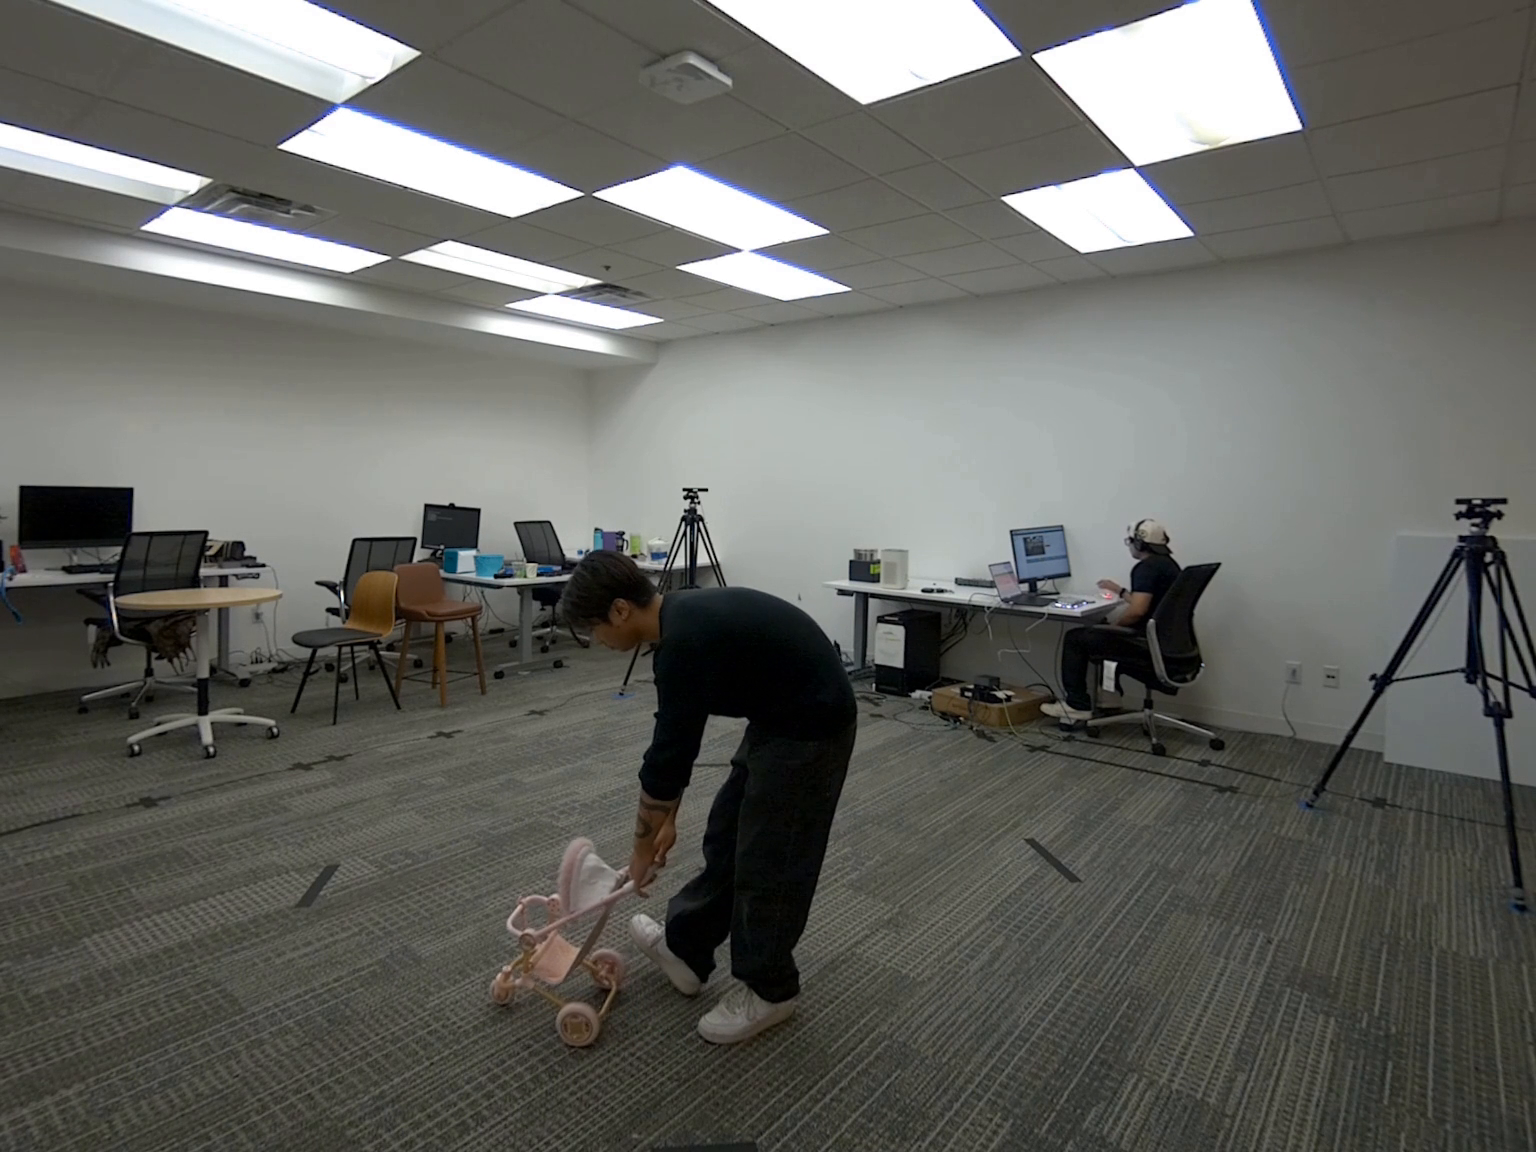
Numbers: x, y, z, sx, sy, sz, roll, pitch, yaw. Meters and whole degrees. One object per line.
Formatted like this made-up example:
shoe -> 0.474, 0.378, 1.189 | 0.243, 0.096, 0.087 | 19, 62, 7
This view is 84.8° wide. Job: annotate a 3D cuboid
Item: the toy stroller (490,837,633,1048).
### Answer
toy stroller -> -0.532, 0.929, 2.241 | 0.347, 0.533, 0.278 | 18, 7, 12
